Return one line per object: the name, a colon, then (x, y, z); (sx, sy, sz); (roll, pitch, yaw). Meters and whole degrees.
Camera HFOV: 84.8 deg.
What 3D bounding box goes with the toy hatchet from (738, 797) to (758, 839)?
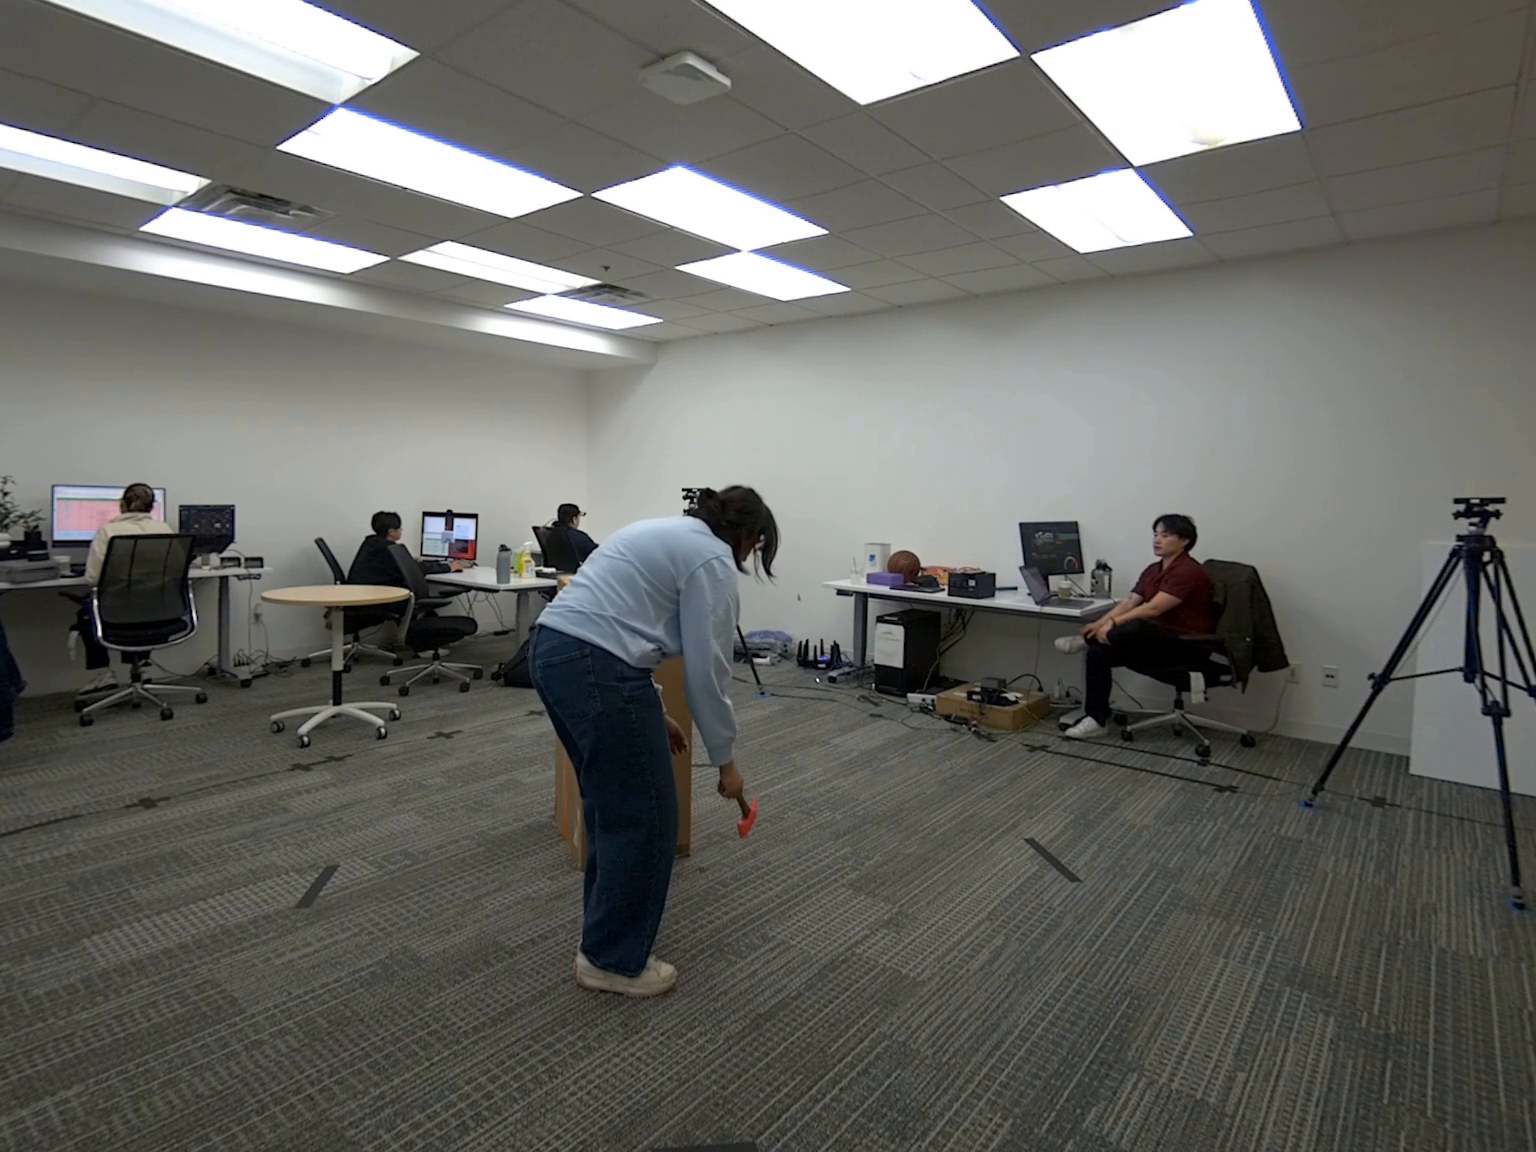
toy hatchet: (-0.106, 0.685, 2.478); (0.030, 0.133, 0.259); (-6, -28, 27)
